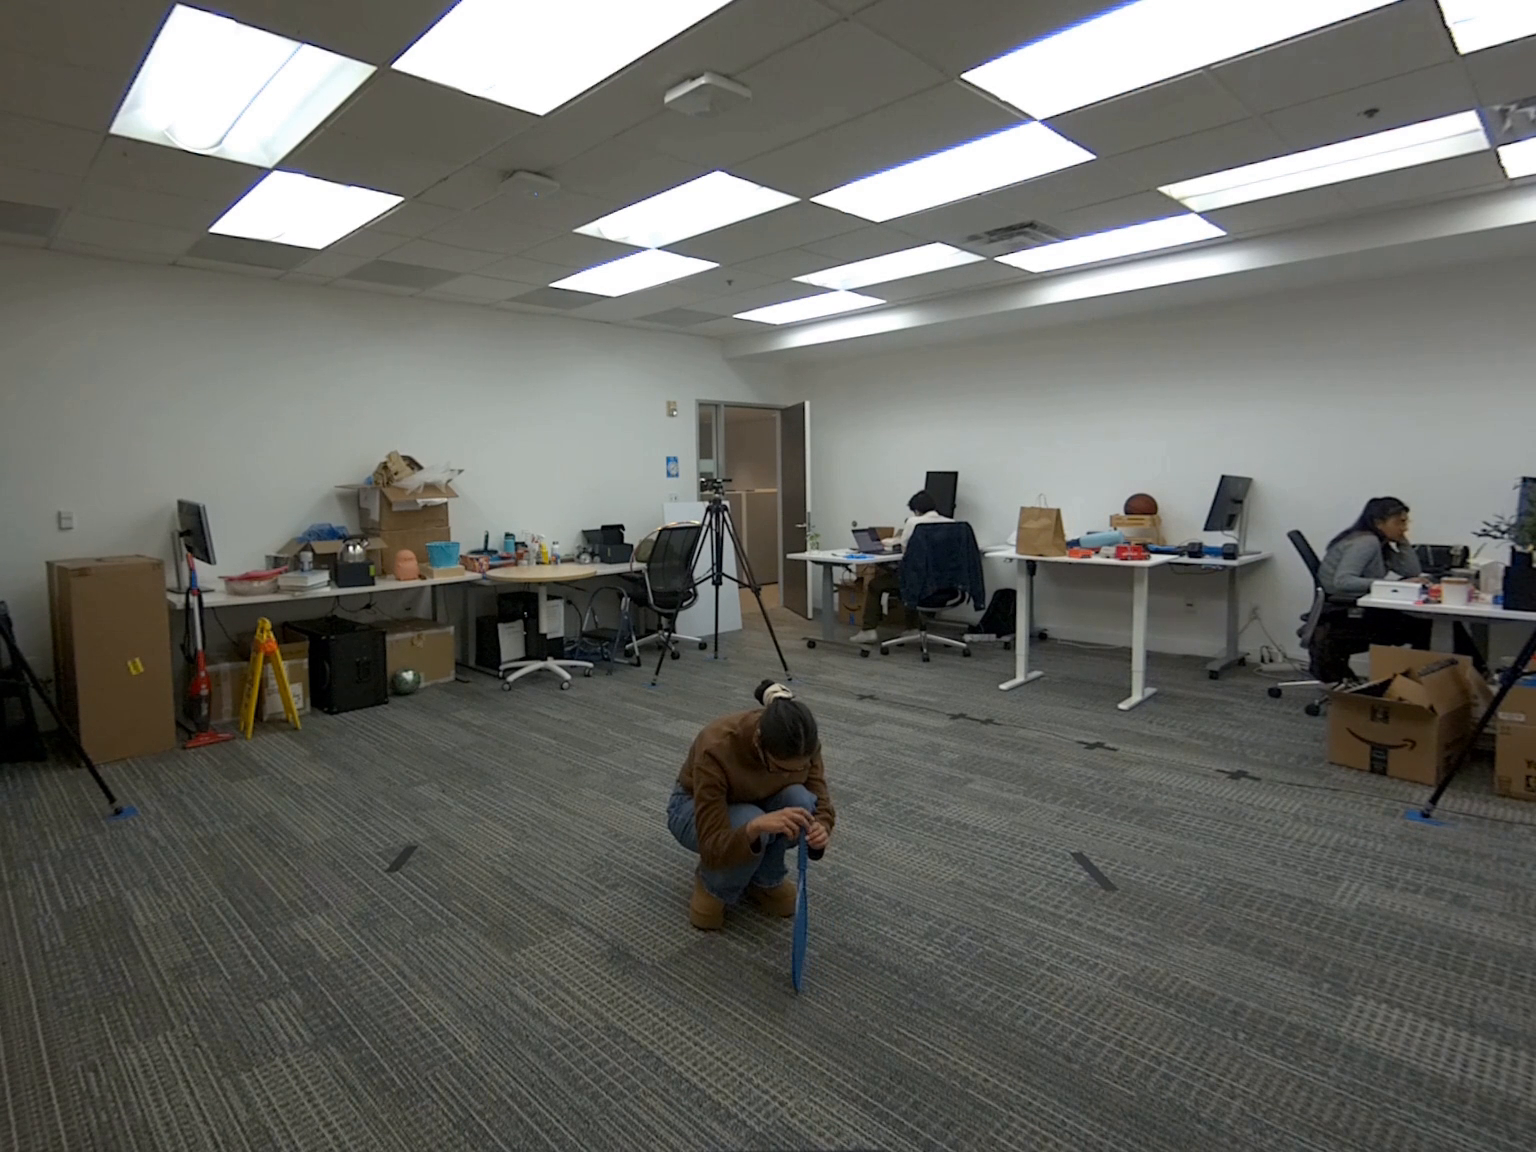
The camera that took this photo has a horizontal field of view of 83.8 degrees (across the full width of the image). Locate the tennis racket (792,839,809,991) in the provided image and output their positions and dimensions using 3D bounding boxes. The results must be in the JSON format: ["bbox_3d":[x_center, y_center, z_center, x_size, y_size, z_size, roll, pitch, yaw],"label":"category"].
[{"bbox_3d":[0.090,0.925,2.378,0.032,0.439,0.209,0,-16,4],"label":"tennis racket"}]
